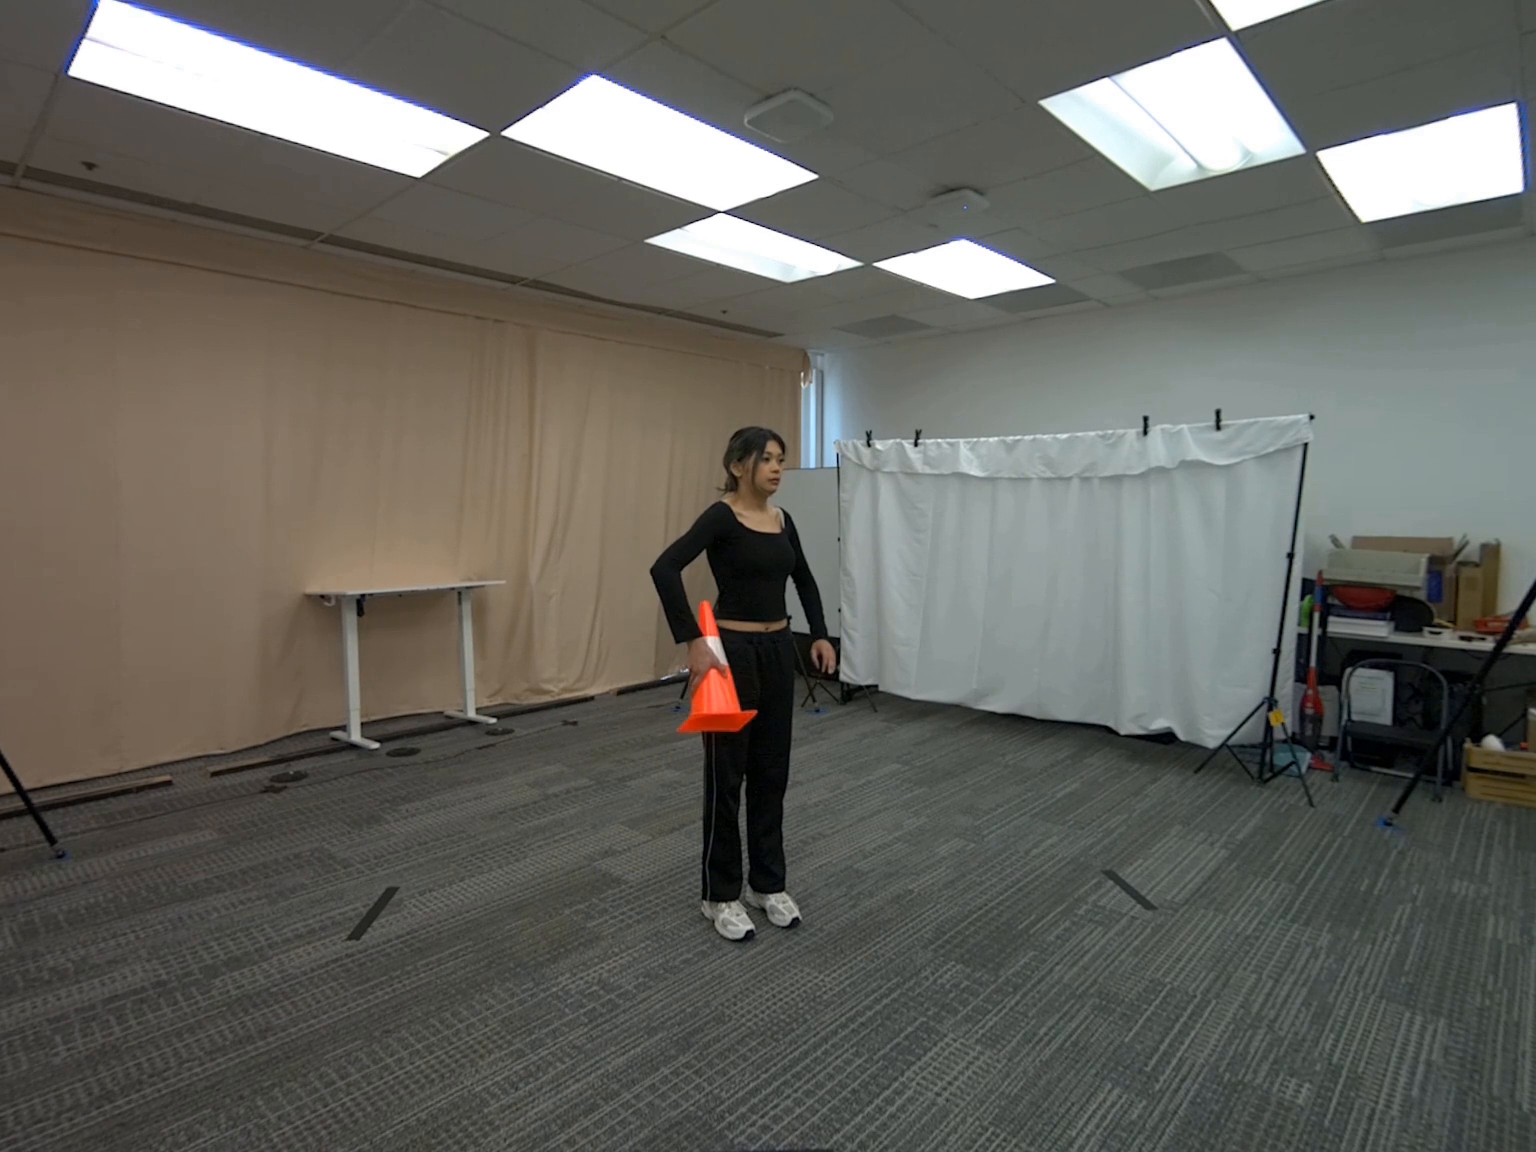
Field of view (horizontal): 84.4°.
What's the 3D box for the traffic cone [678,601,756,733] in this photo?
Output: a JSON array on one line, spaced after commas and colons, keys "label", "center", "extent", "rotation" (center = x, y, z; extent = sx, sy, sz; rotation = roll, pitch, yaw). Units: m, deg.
[{"label": "traffic cone", "center": [-0.178, 0.261, 2.560], "extent": [0.201, 0.390, 0.203], "rotation": [1, -26, -17]}]
